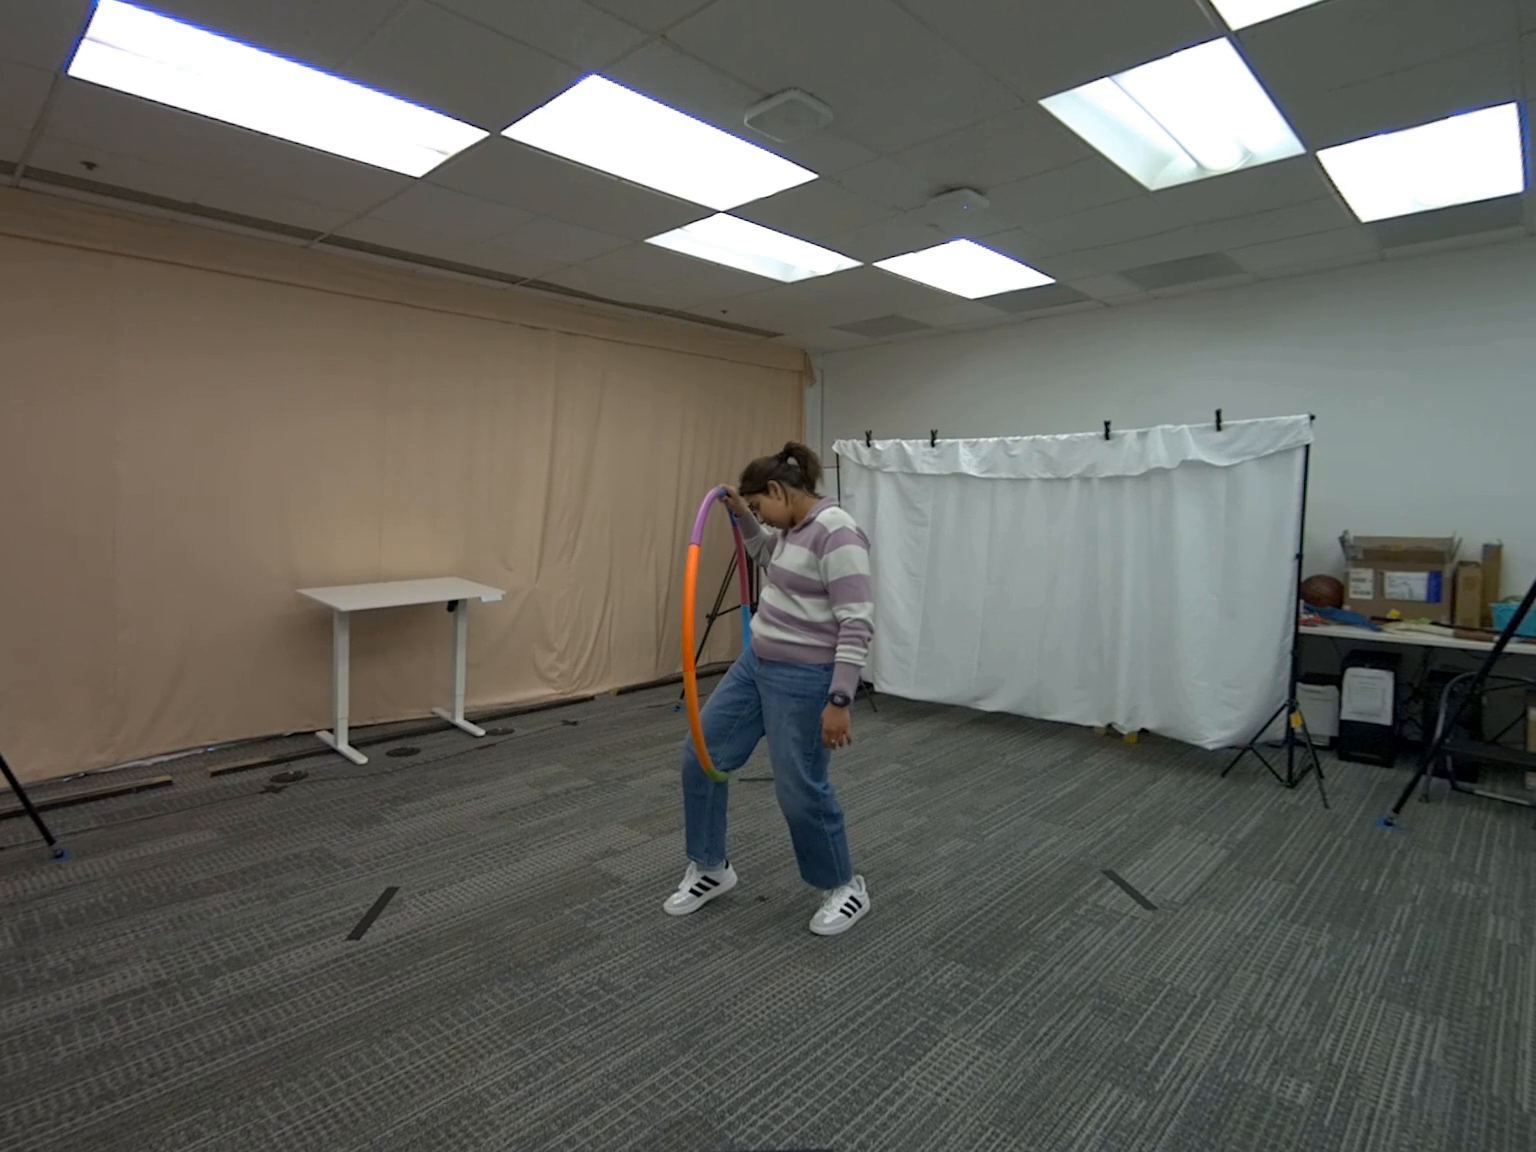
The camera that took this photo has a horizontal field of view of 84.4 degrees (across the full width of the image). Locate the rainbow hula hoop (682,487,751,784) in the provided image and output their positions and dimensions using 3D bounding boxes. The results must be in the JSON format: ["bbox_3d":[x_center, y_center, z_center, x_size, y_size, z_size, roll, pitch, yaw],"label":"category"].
[{"bbox_3d":[-0.144,0.189,2.880,0.052,0.983,0.976,-3,3,9],"label":"rainbow hula hoop"}]
